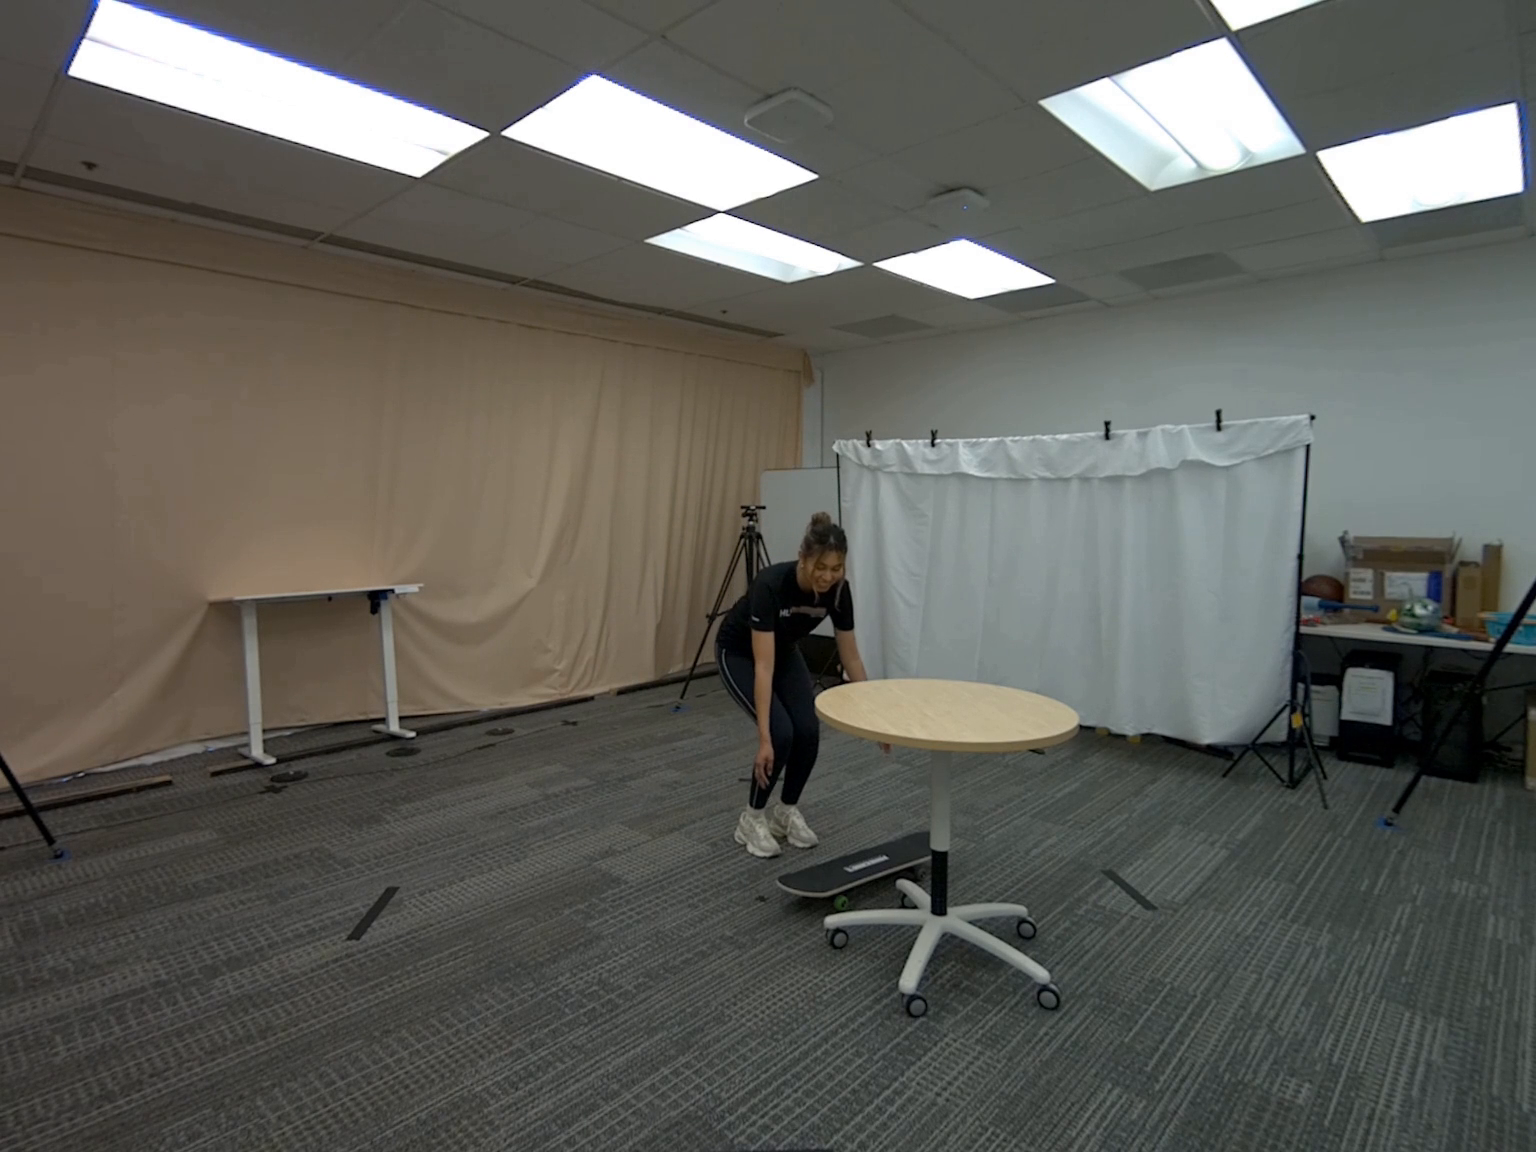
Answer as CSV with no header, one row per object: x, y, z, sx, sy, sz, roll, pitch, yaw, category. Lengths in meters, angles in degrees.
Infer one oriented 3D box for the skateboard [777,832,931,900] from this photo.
0.361,1.080,3.063,0.762,0.110,0.199,-4,5,-36,skateboard
